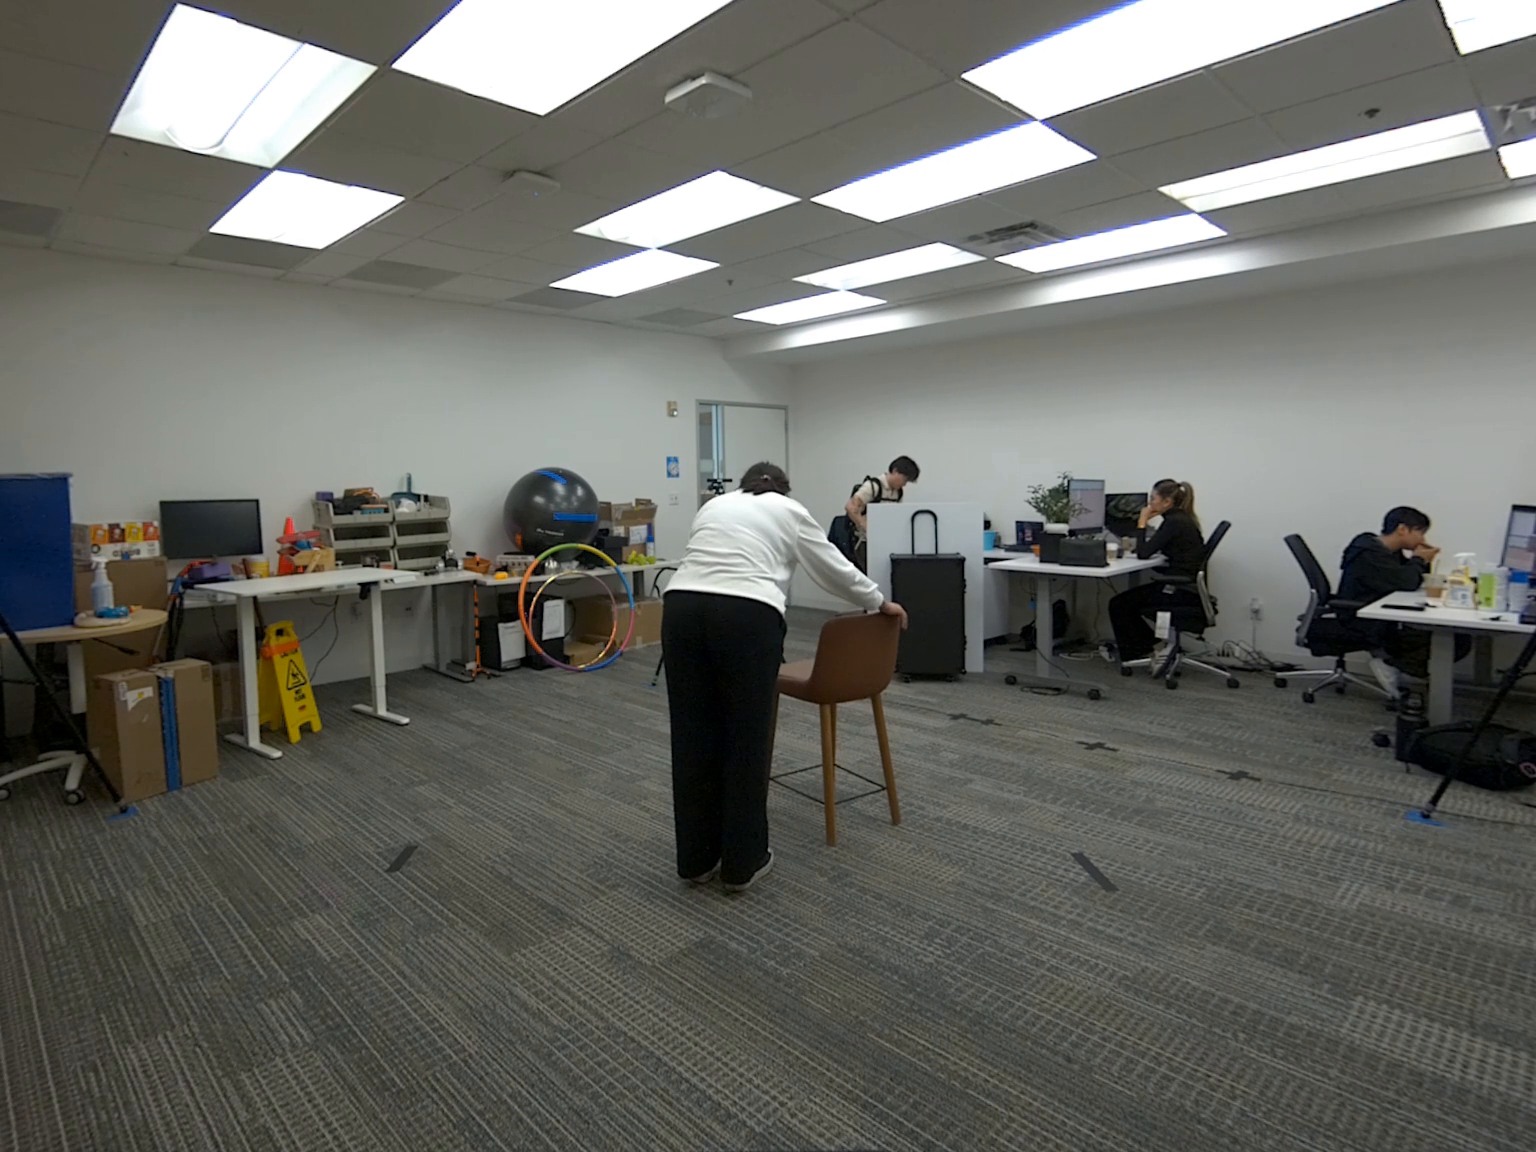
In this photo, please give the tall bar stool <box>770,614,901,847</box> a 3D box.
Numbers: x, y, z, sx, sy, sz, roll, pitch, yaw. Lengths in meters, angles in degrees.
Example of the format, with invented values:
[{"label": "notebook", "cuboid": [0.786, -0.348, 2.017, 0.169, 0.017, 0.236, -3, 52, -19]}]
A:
[{"label": "tall bar stool", "cuboid": [0.257, 0.556, 3.498, 0.445, 0.885, 0.482, -3, 7, -35]}]
